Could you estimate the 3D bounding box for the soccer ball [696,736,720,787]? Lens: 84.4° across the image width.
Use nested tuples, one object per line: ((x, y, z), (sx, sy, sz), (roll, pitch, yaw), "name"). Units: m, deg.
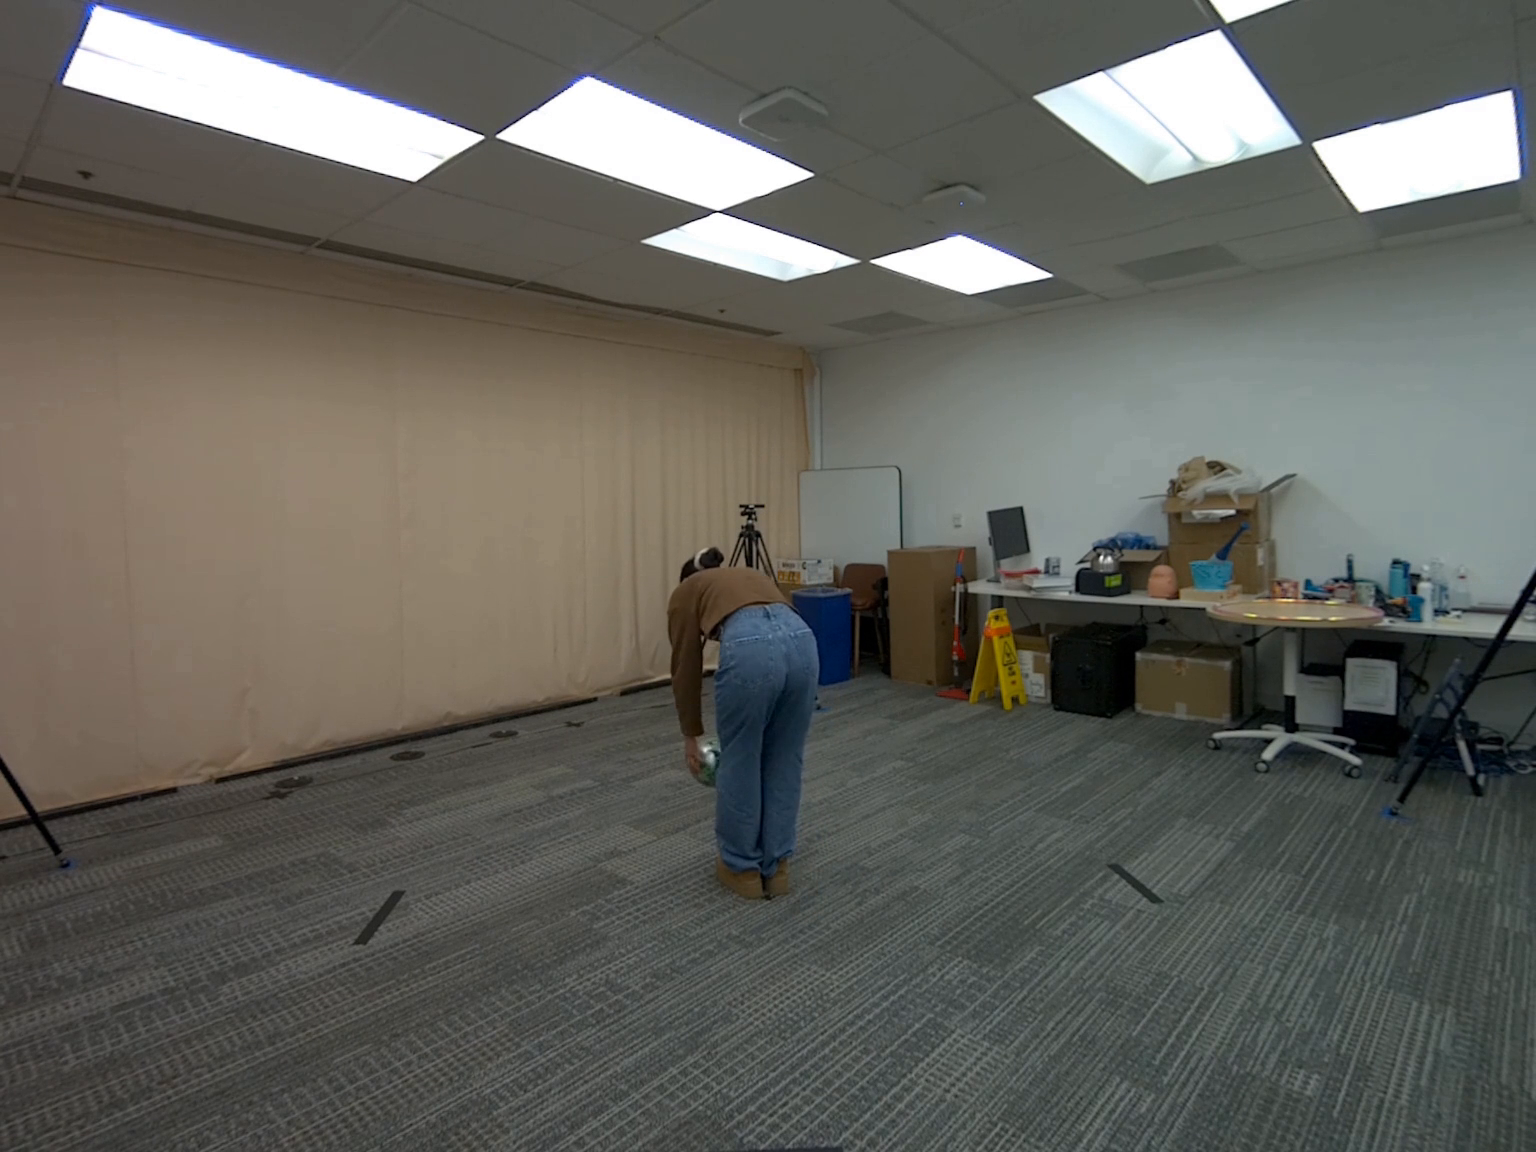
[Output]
((-0.208, 0.713, 3.270), (0.187, 0.187, 0.188), (-1, 4, -2), "soccer ball")
